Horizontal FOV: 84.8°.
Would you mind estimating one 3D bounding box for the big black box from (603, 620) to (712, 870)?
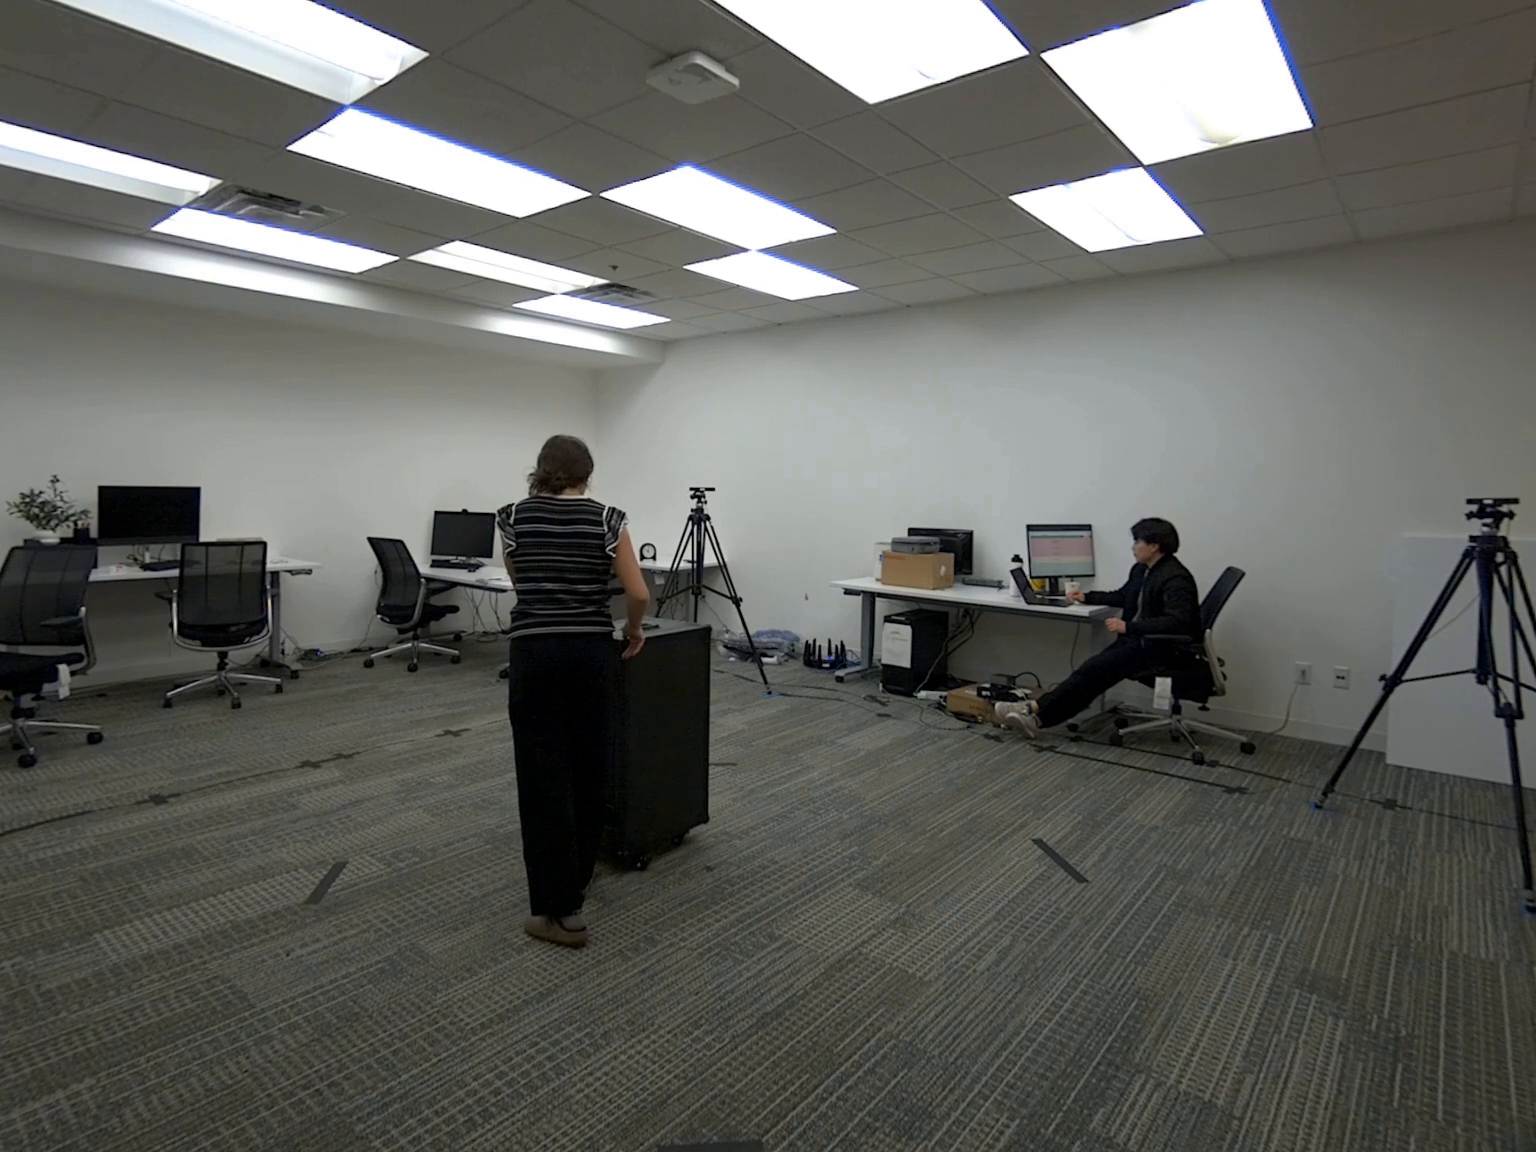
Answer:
[{"bbox_3d":[-0.532,0.621,3.280,0.409,0.859,0.506,2,4,37],"label":"big black box"}]
